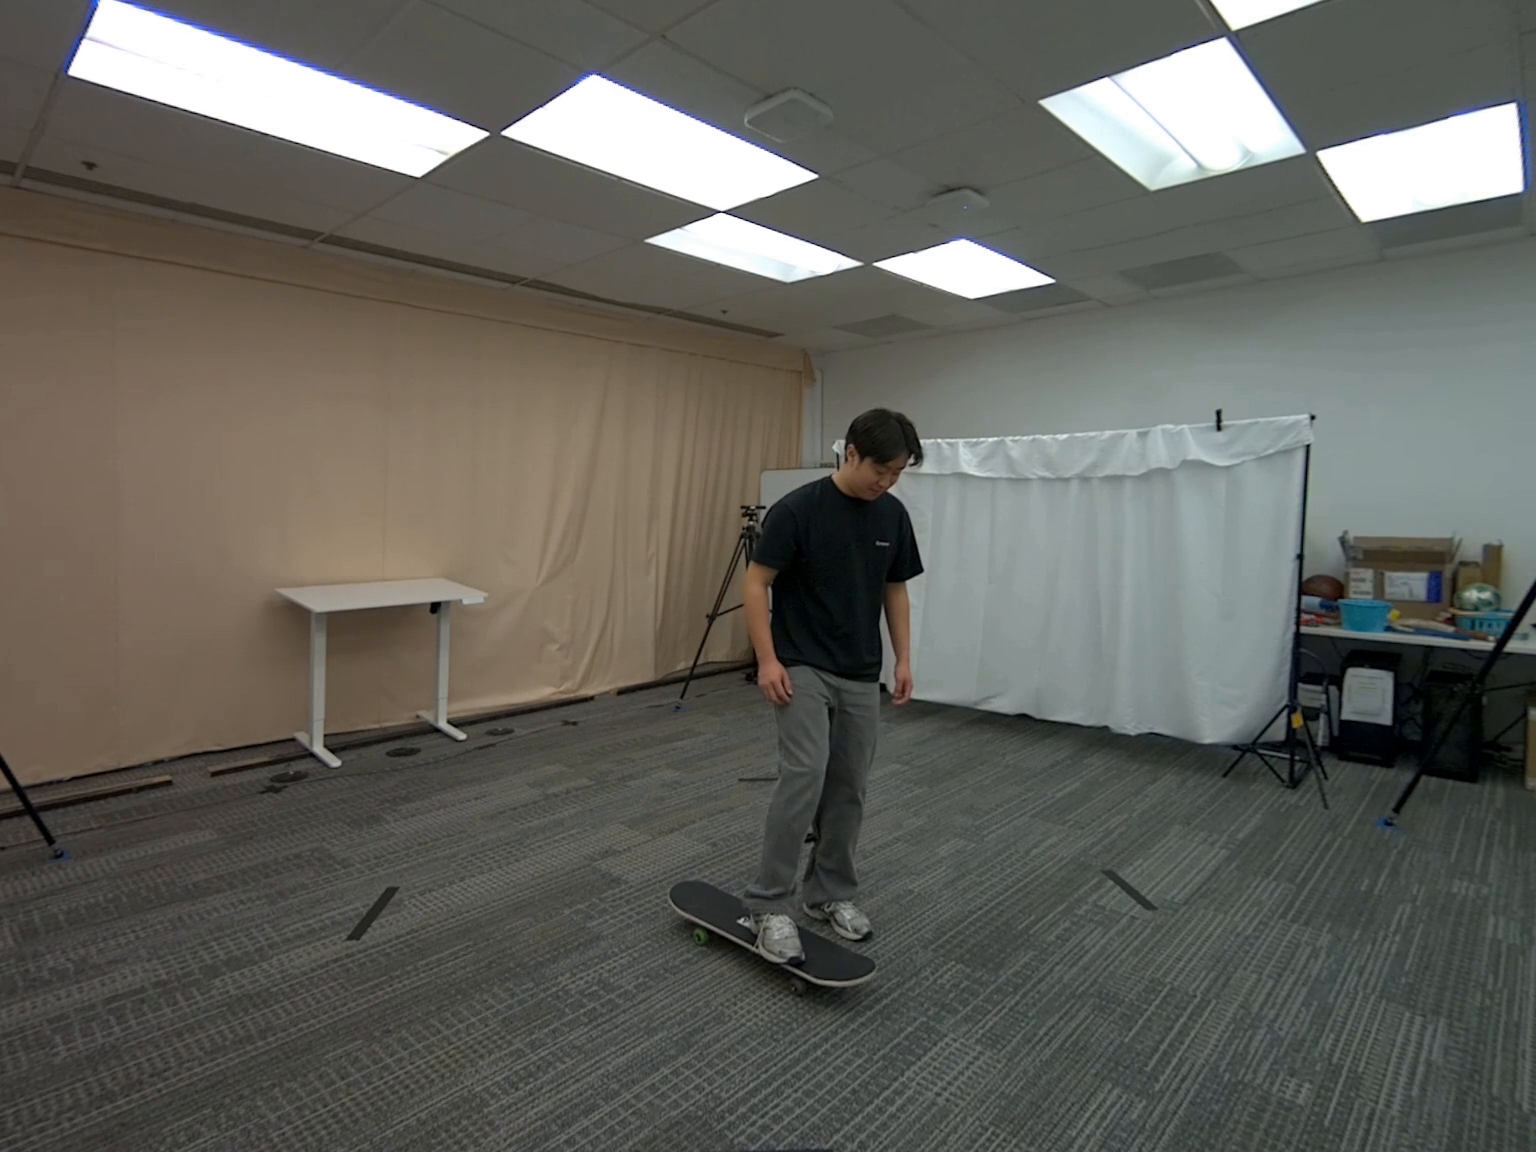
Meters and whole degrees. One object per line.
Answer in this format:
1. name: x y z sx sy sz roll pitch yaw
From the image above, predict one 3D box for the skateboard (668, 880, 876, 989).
1. skateboard: -0.015 1.123 2.587 0.812 0.110 0.188 4 8 44
